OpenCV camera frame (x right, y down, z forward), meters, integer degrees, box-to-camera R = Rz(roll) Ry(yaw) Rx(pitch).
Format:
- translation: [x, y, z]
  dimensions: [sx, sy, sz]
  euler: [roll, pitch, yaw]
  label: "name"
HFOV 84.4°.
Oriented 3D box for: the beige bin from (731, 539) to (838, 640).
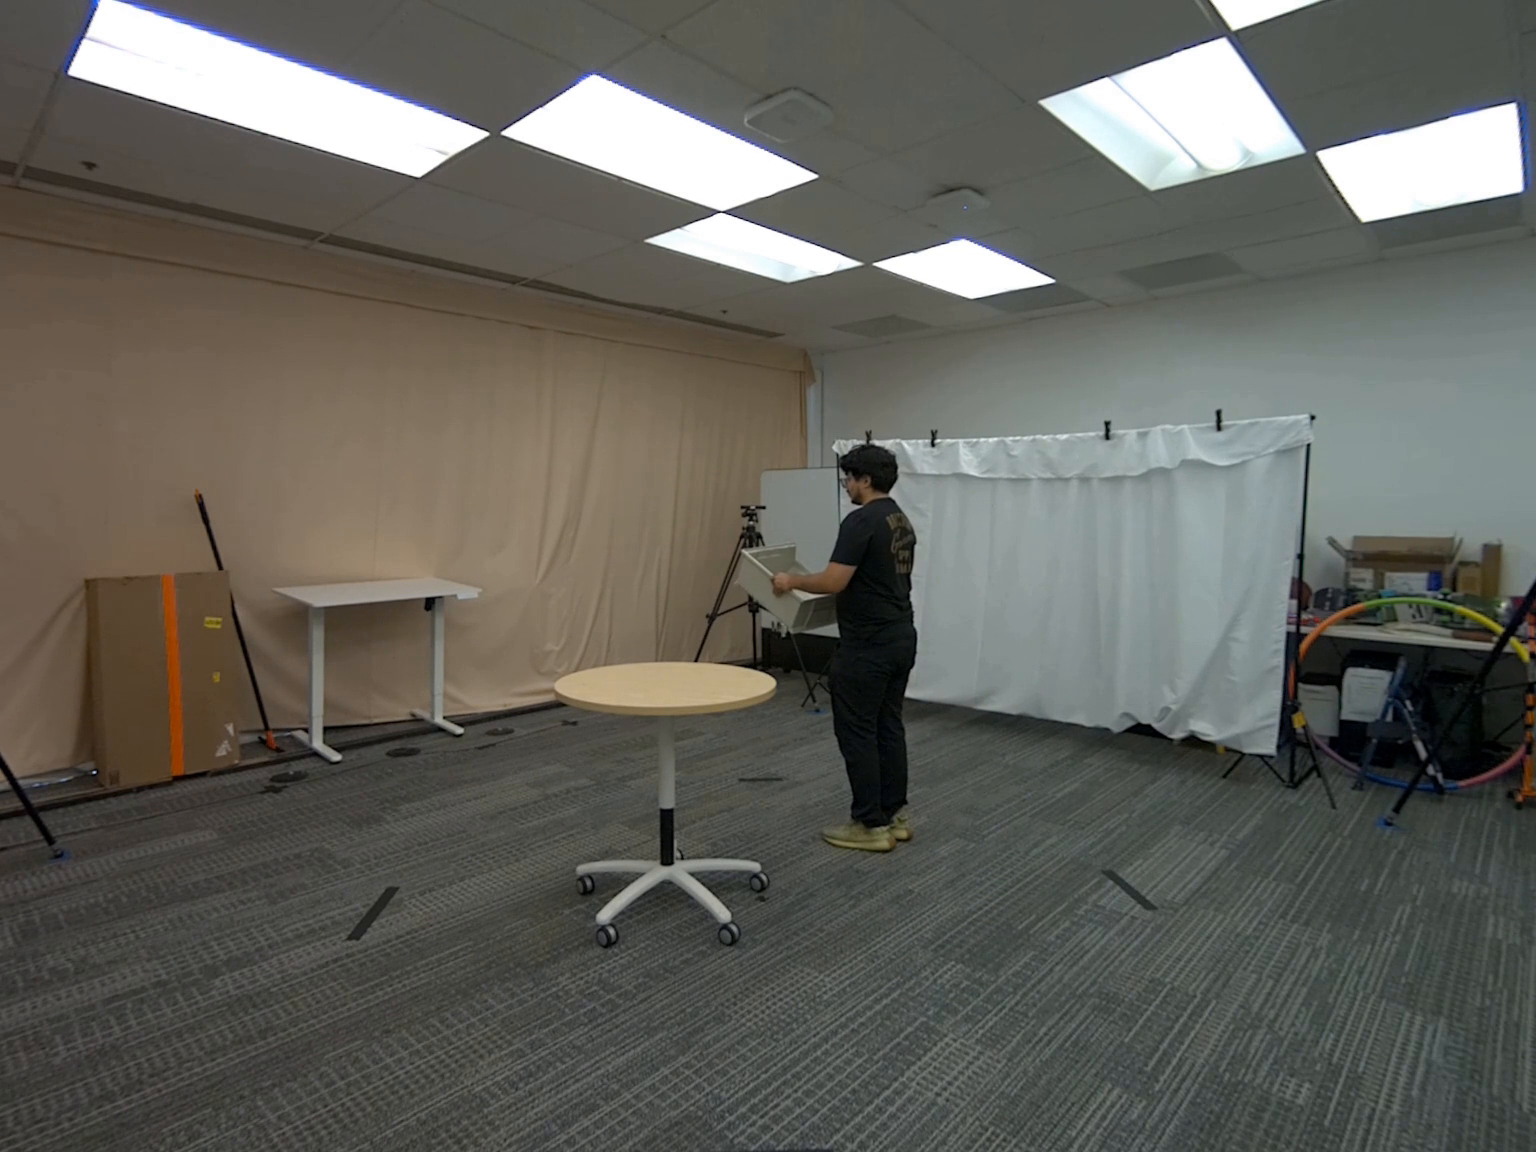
- translation: [0.126, 0.046, 3.804]
  dimensions: [0.367, 0.187, 0.437]
  euler: [-12, 39, -39]
  label: "beige bin"
